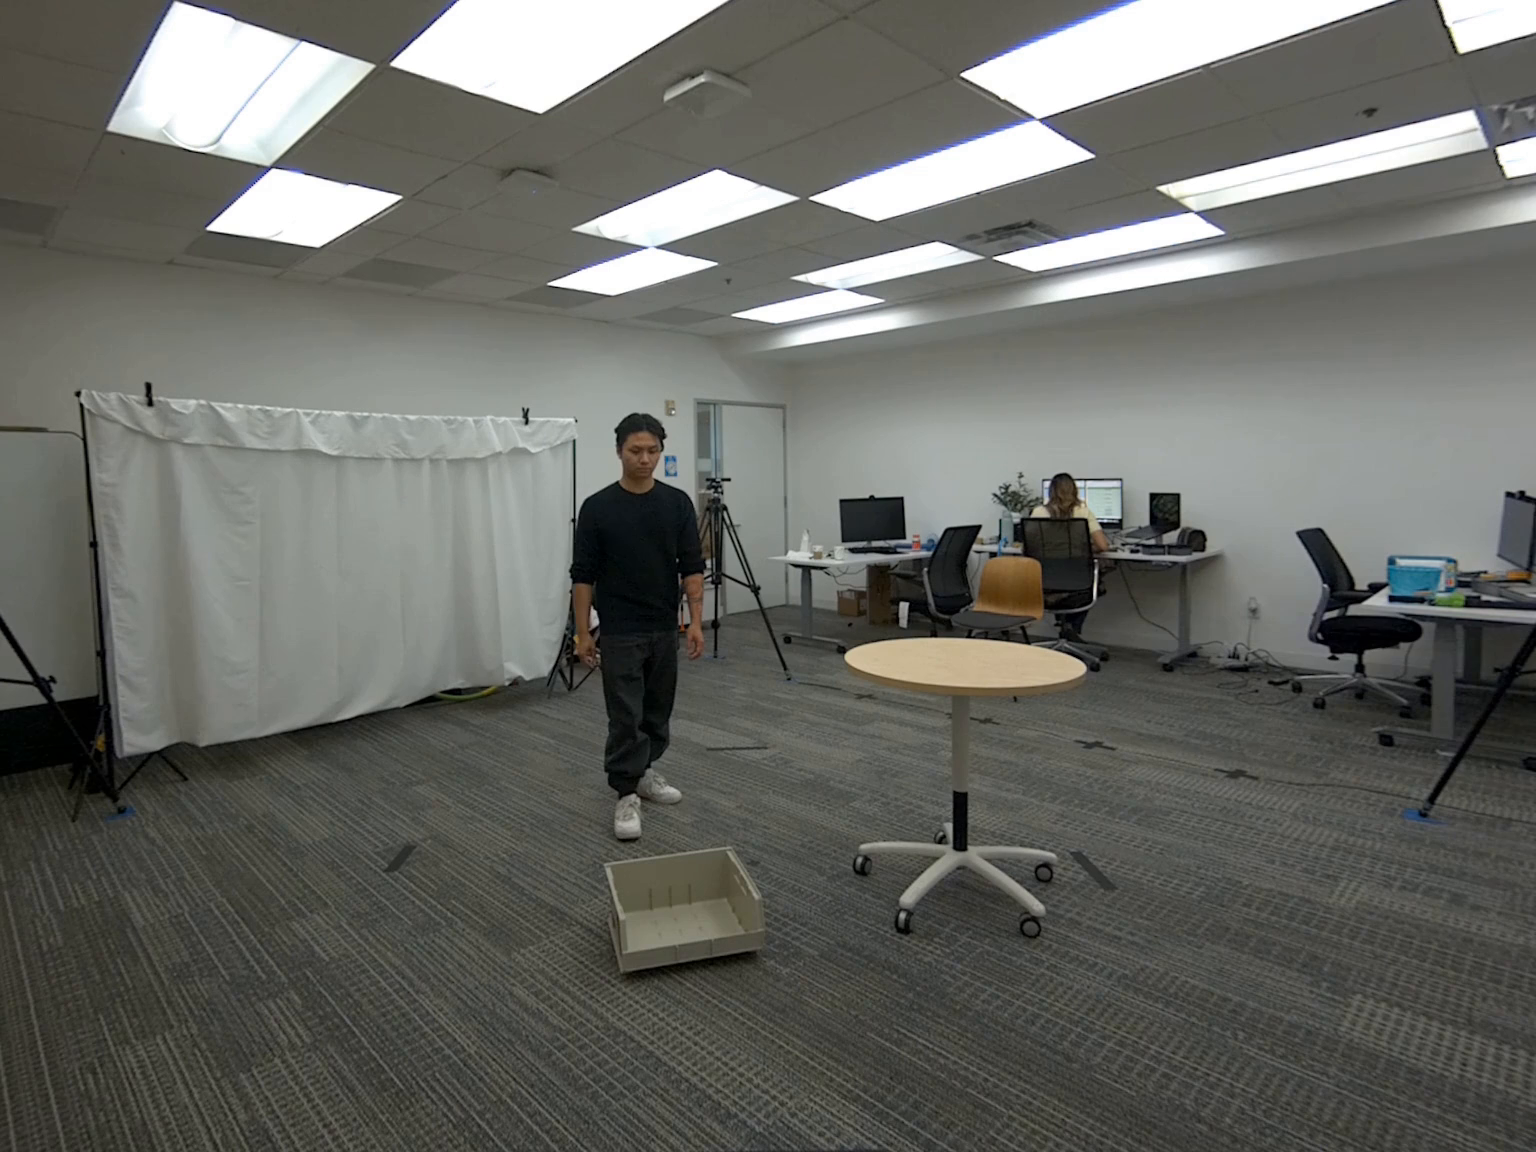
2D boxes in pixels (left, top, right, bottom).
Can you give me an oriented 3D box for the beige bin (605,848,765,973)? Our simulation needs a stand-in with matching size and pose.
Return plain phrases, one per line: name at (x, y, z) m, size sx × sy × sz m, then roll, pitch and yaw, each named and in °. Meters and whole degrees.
beige bin at (-0.252, 1.021, 2.589) m, size 0.417 × 0.188 × 0.384 m, roll -3°, pitch 6°, yaw -15°
